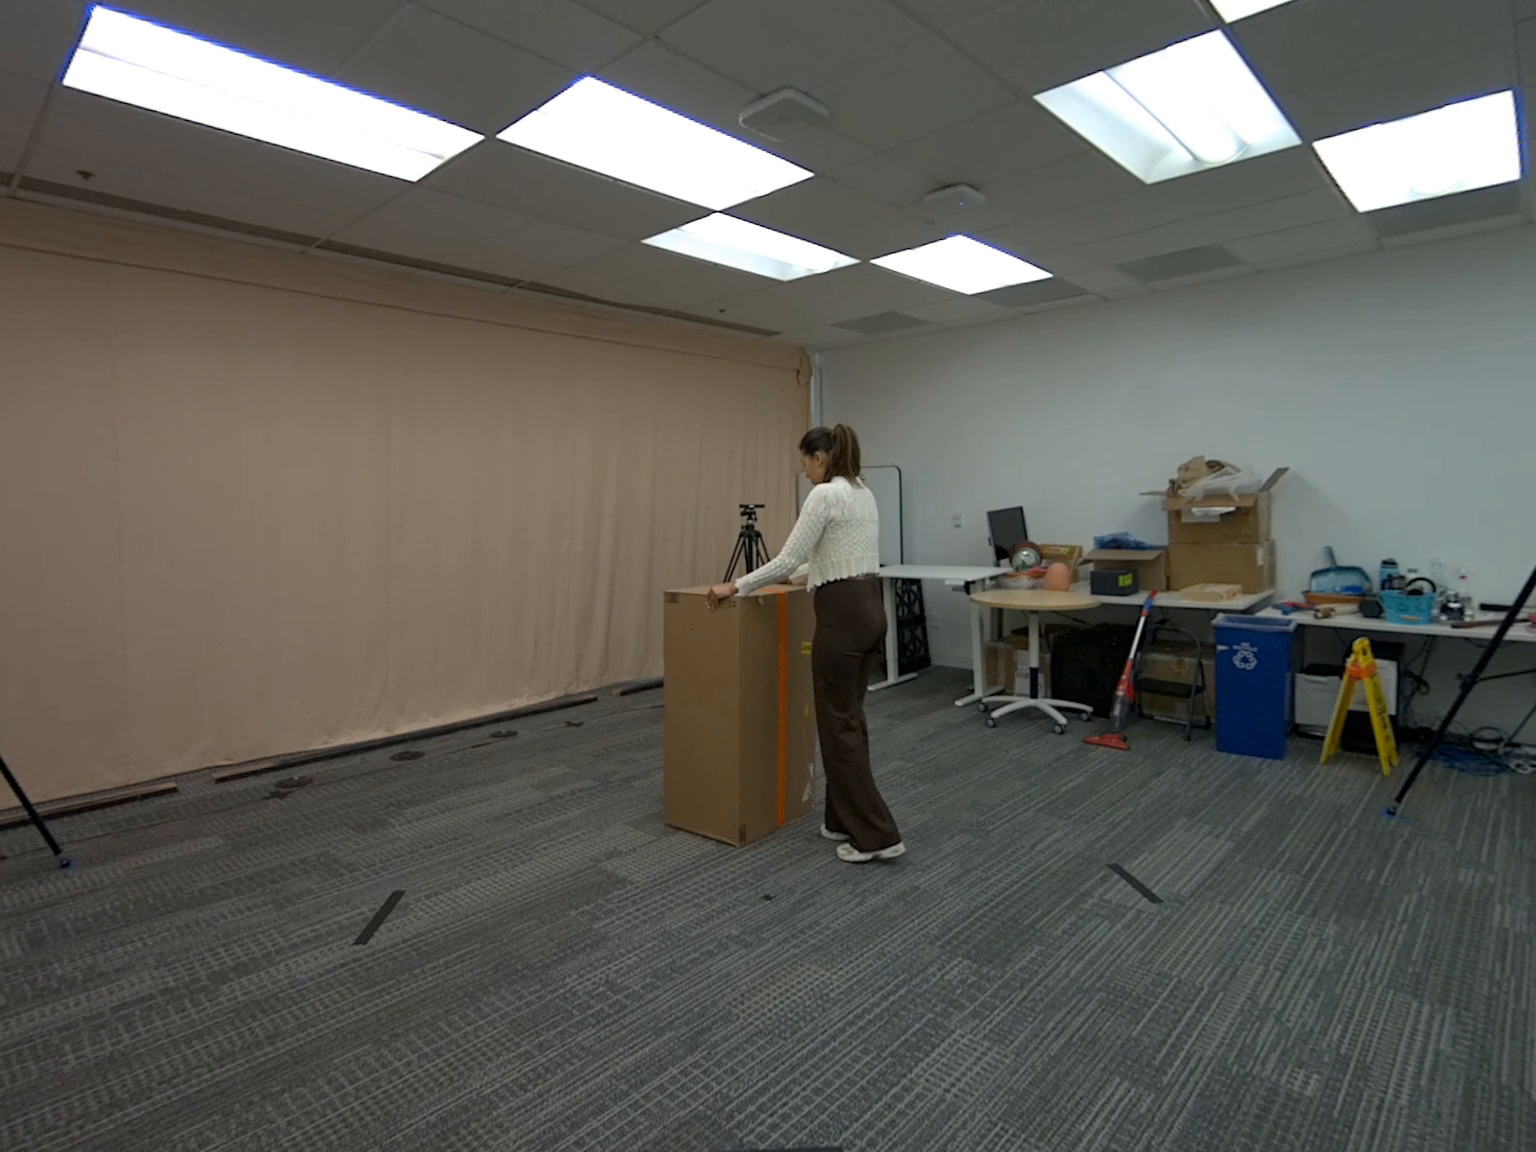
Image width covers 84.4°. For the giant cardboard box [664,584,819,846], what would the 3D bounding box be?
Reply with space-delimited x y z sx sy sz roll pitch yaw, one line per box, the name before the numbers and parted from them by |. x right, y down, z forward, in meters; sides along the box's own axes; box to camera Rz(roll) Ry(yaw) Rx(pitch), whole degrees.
giant cardboard box | -0.118 0.562 3.746 0.440 1.024 0.560 2 4 37
